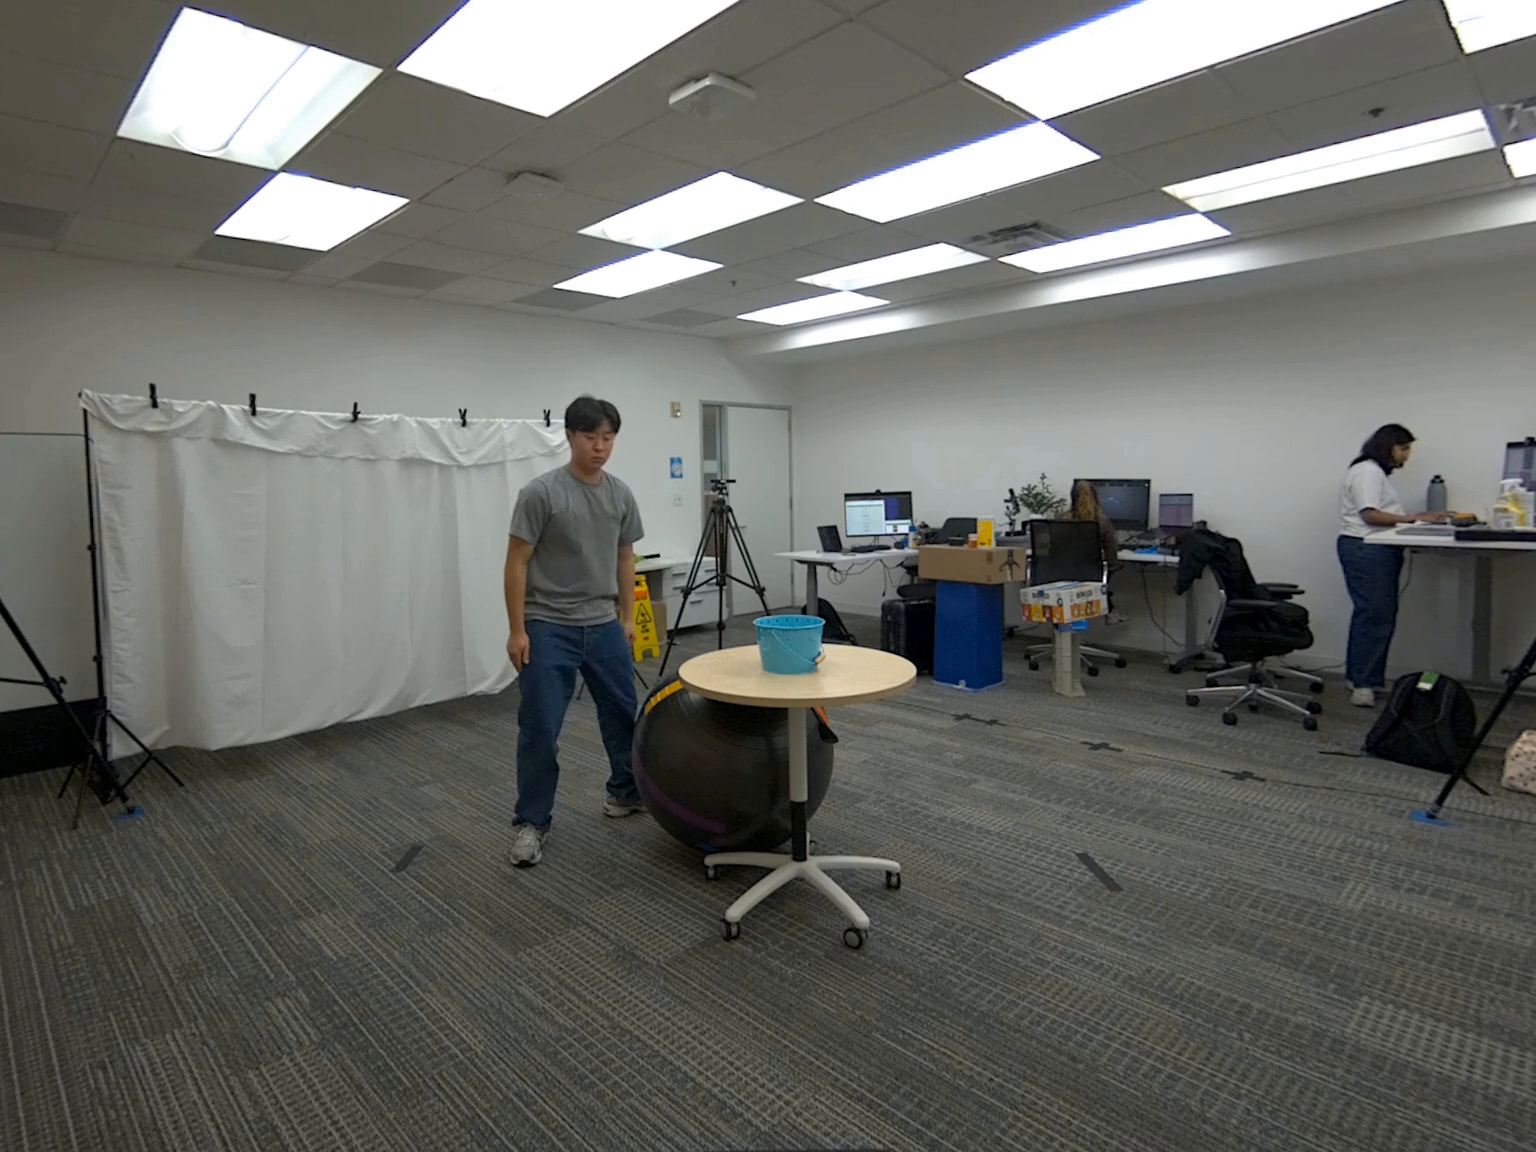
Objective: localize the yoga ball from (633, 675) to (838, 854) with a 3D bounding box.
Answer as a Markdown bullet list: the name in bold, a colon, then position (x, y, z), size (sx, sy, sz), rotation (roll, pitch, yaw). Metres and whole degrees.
- **yoga ball**: position (-0.136, 0.662, 3.245), size (0.757, 0.755, 0.762), rotation (-1, 5, -2)
